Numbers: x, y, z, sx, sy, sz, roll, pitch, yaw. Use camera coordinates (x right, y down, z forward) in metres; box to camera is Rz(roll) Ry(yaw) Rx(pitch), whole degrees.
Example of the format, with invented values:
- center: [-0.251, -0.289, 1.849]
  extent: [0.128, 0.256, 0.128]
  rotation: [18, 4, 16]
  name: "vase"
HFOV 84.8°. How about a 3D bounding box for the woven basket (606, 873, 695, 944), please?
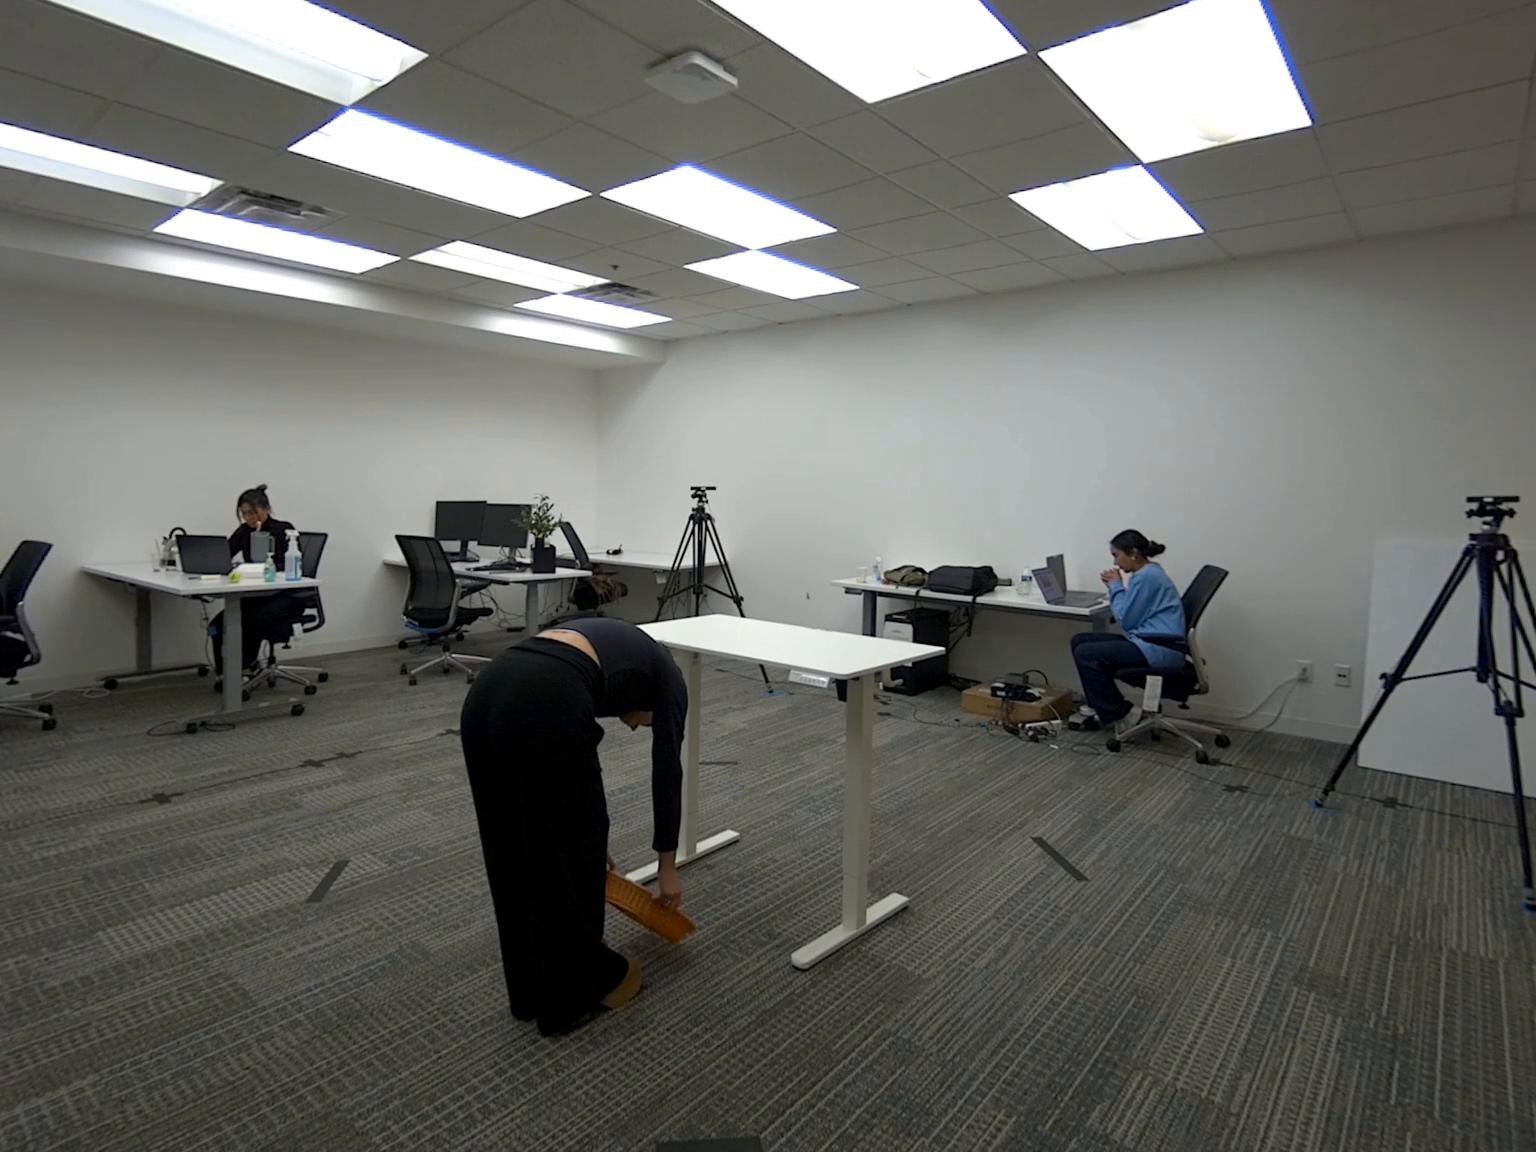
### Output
- center: [-0.364, 0.982, 2.534]
  extent: [0.362, 0.243, 0.074]
  rotation: [6, 50, 40]
  name: "woven basket"
